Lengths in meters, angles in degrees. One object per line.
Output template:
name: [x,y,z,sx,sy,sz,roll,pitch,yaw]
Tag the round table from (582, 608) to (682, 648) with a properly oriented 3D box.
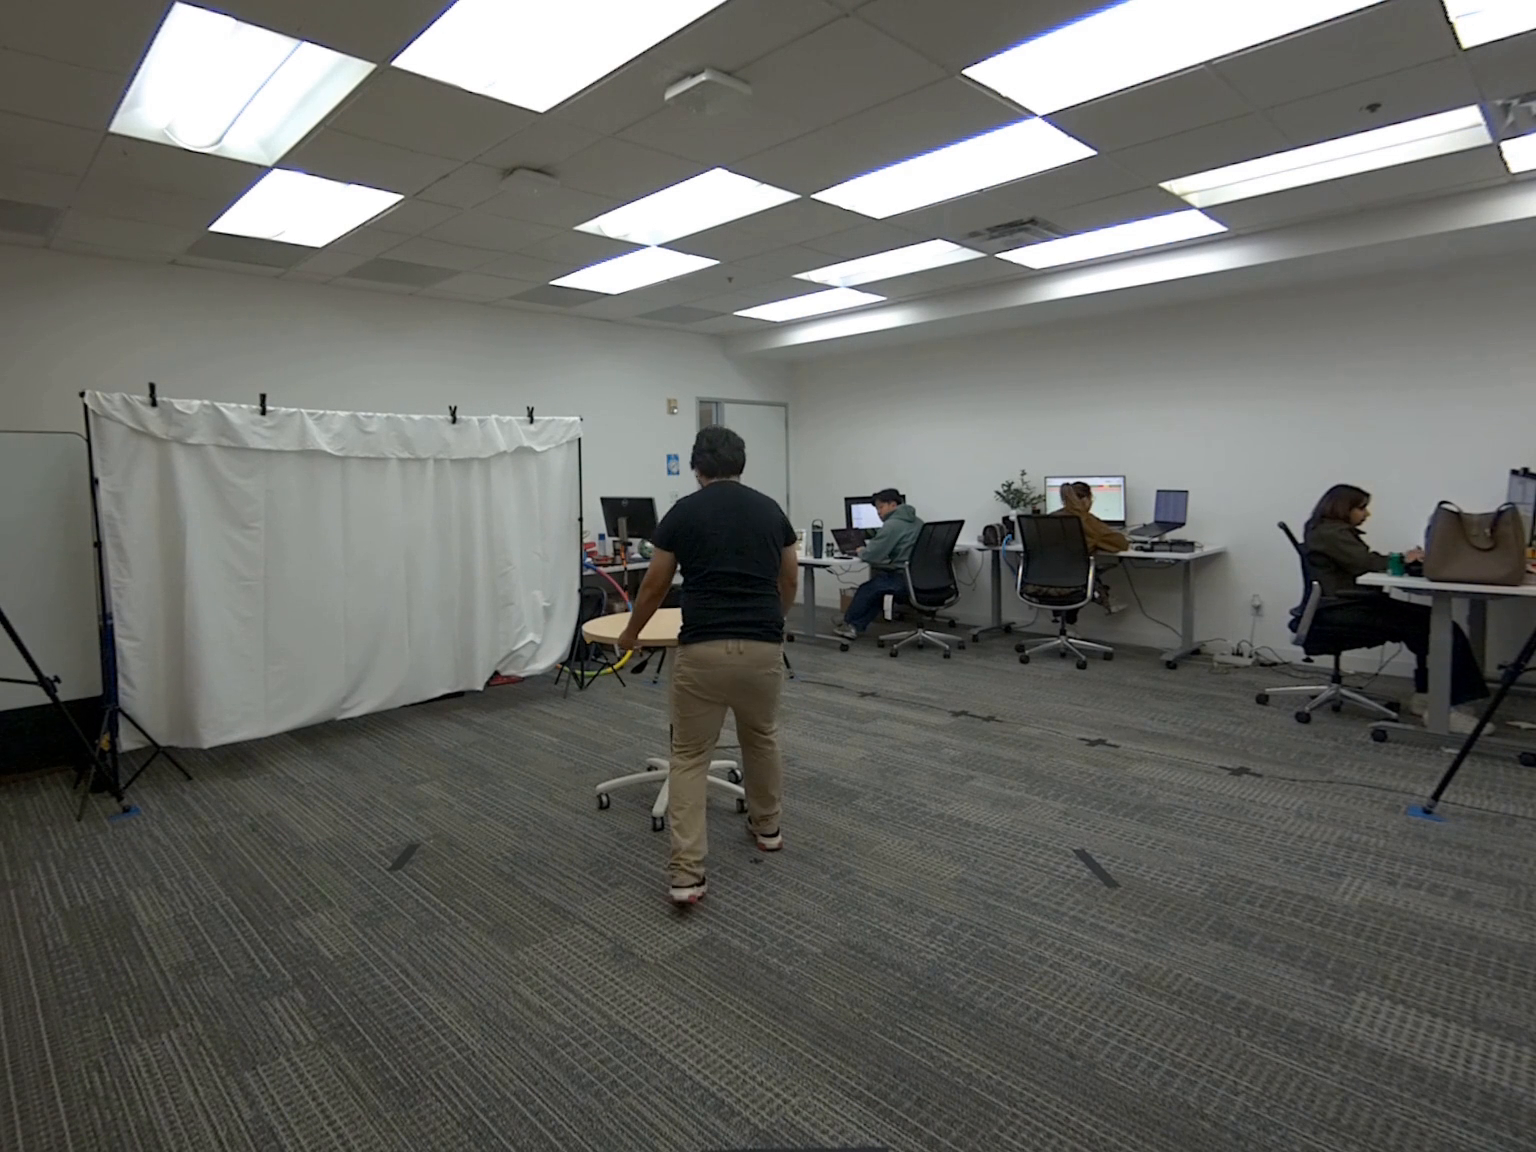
round table: [-0.378,0.584,3.687,0.784,0.783,0.789,-2,5,-1]
